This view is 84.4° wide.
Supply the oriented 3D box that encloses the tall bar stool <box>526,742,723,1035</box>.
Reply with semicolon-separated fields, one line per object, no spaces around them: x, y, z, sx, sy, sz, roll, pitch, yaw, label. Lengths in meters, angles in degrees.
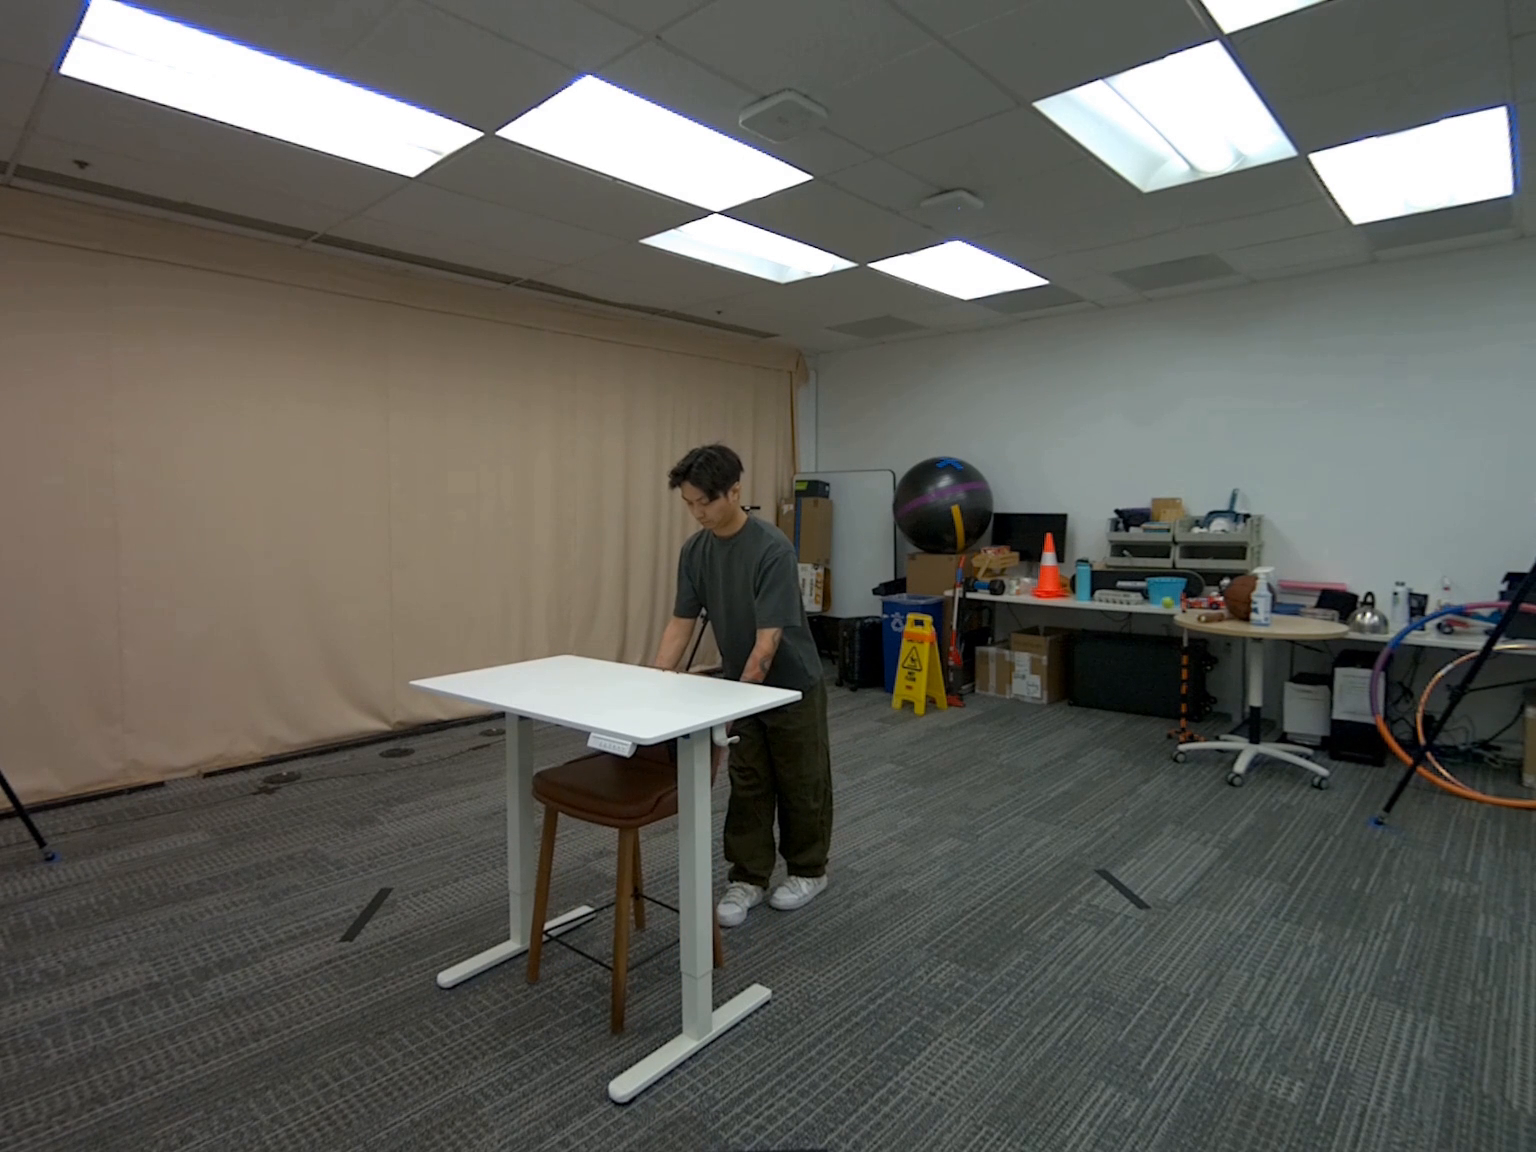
-0.409;0.752;2.489;0.471;0.889;0.453;2;1;40;tall bar stool
